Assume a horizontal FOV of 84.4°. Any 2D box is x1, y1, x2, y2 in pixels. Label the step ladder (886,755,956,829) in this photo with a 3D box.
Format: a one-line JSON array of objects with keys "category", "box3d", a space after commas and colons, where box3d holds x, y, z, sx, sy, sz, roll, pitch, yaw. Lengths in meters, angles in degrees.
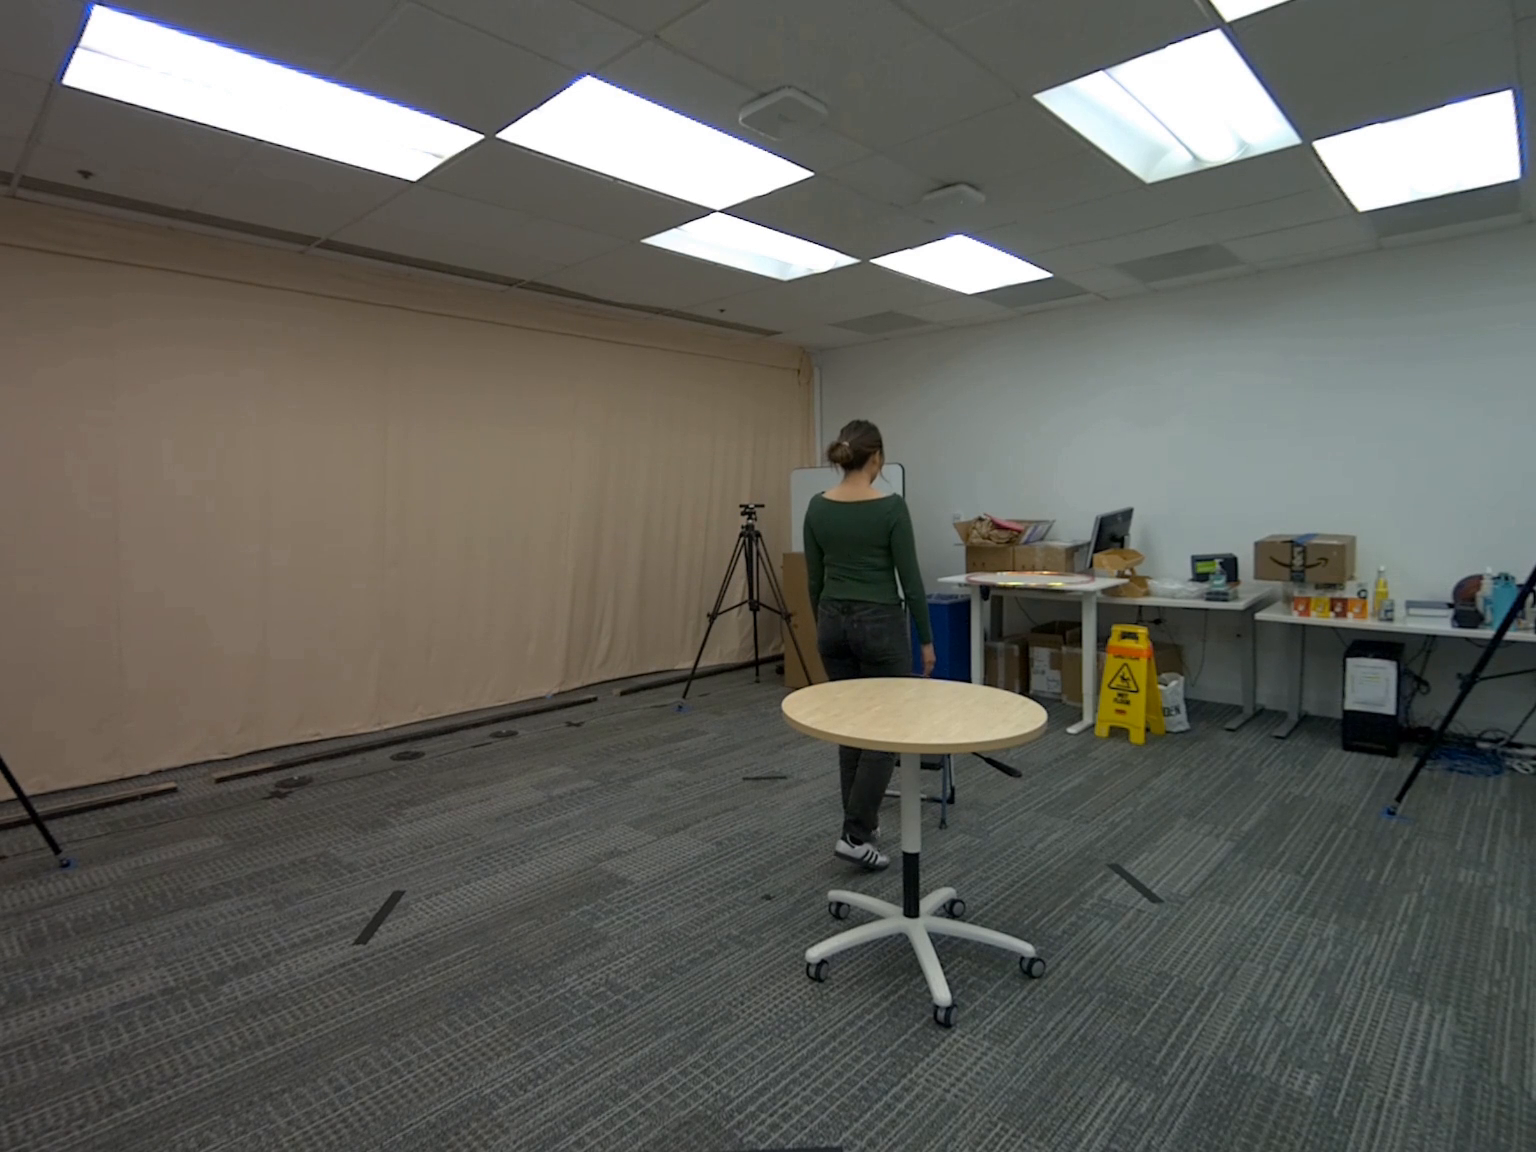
[{"category": "step ladder", "box3d": [0.617, 0.755, 3.805, 0.440, 0.605, 0.342, 0, 3, 21]}]
